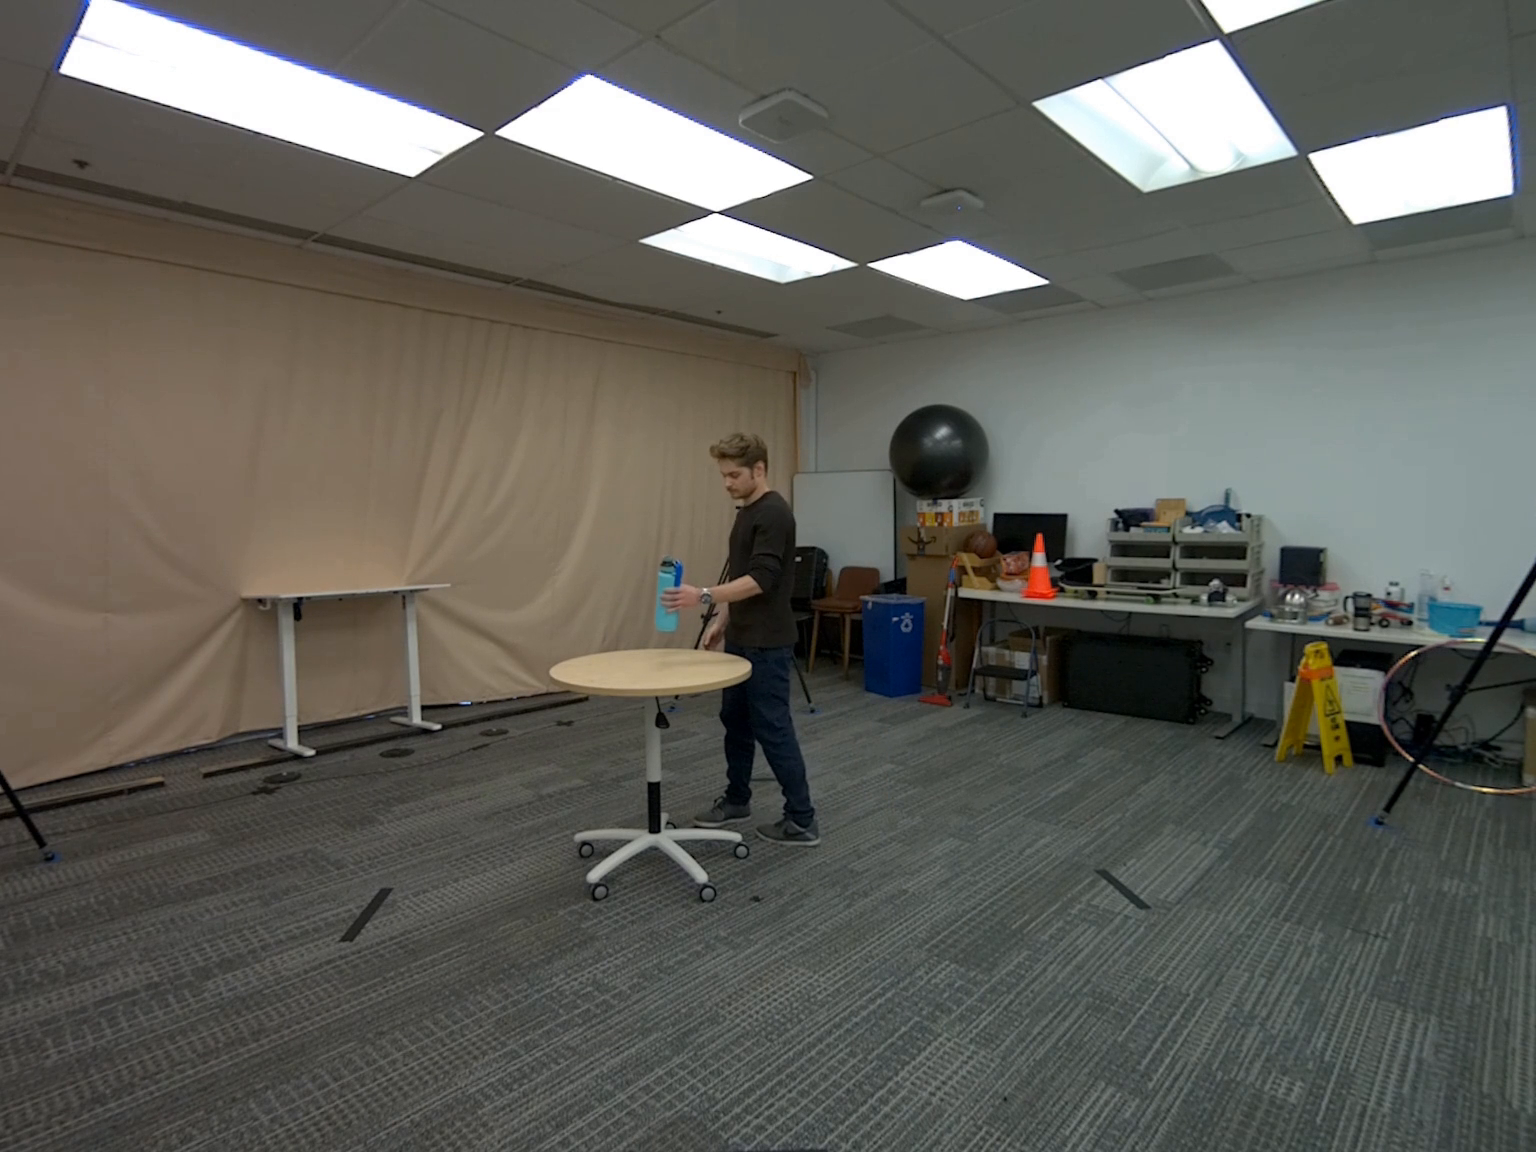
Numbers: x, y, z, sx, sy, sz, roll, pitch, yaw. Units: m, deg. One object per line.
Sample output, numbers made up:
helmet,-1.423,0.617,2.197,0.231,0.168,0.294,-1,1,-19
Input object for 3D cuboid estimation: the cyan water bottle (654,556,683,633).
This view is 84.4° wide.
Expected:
cyan water bottle,-0.383,0.067,3.265,0.092,0.281,0.093,4,12,-3
